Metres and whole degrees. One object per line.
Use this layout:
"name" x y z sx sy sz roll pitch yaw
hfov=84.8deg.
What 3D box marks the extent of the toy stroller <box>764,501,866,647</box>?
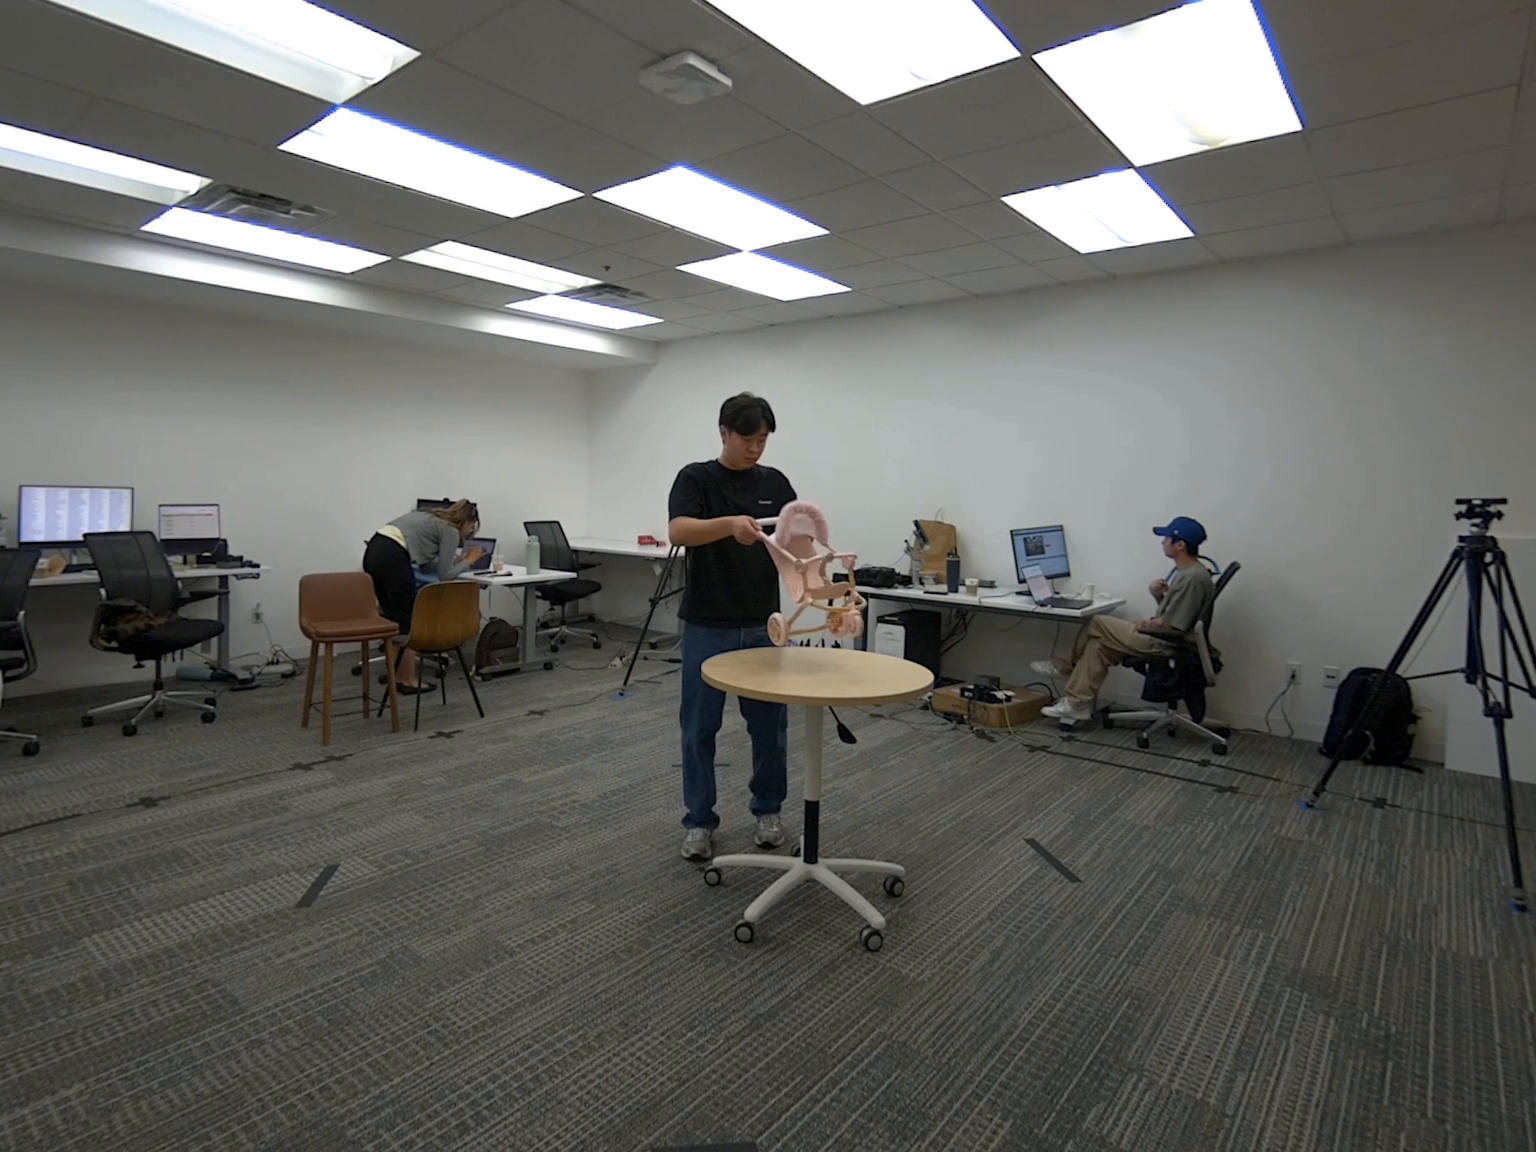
"toy stroller" 0.136 -0.017 2.823 0.275 0.547 0.341 -4 -21 -26
